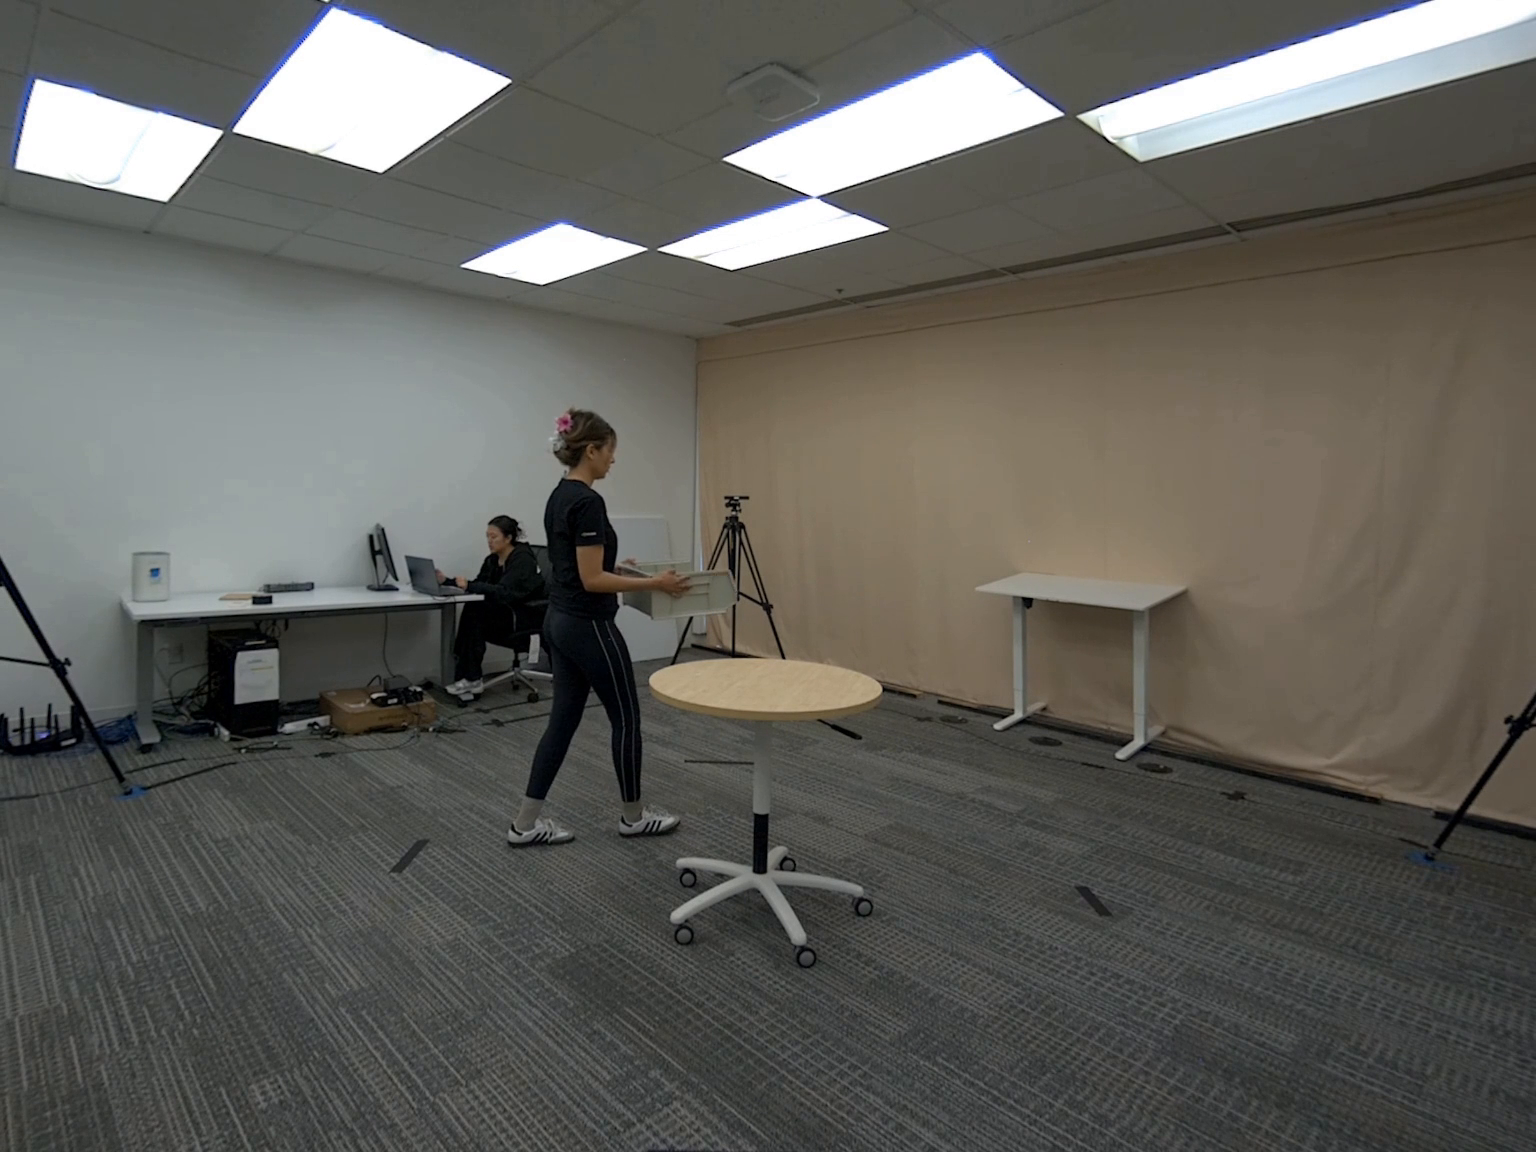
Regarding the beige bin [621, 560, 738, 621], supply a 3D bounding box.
[{"bbox_3d":[-0.391,0.045,3.538,0.371,0.188,0.432,-6,9,-26],"label":"beige bin"}]
